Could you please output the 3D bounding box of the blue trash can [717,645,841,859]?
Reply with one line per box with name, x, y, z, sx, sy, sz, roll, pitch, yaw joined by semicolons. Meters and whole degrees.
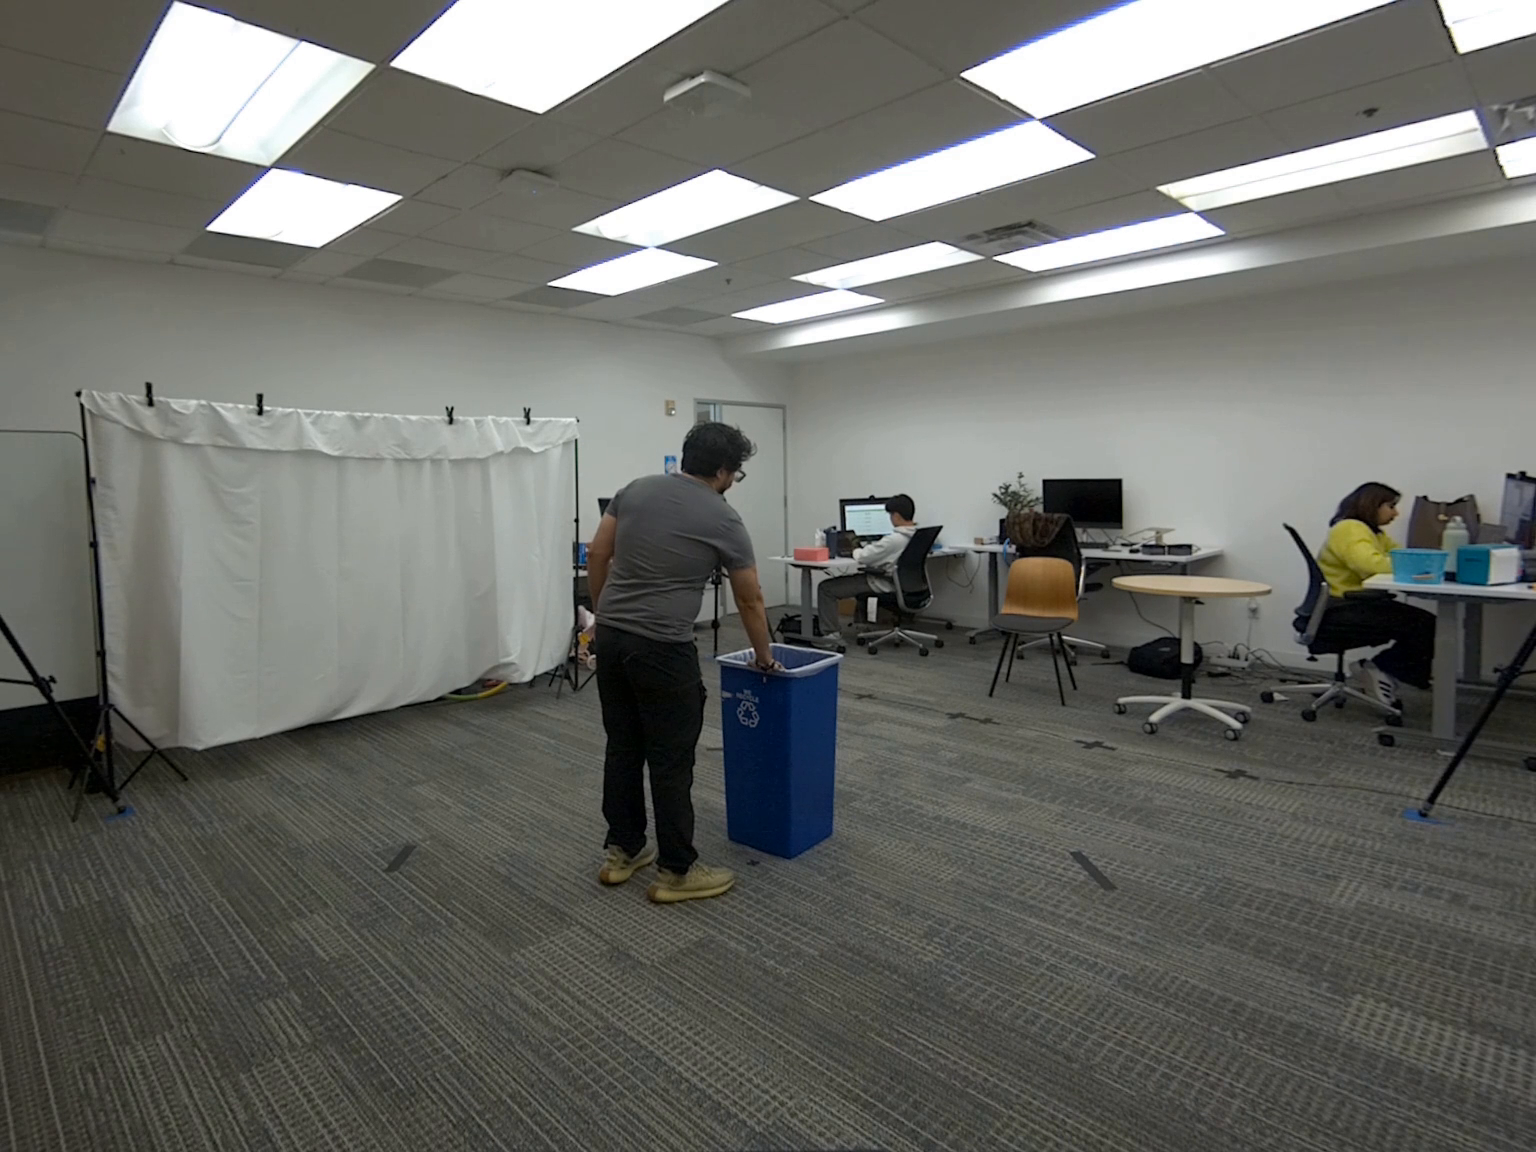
blue trash can;0.056;0.659;3.303;0.385;0.711;0.368;3;6;39
